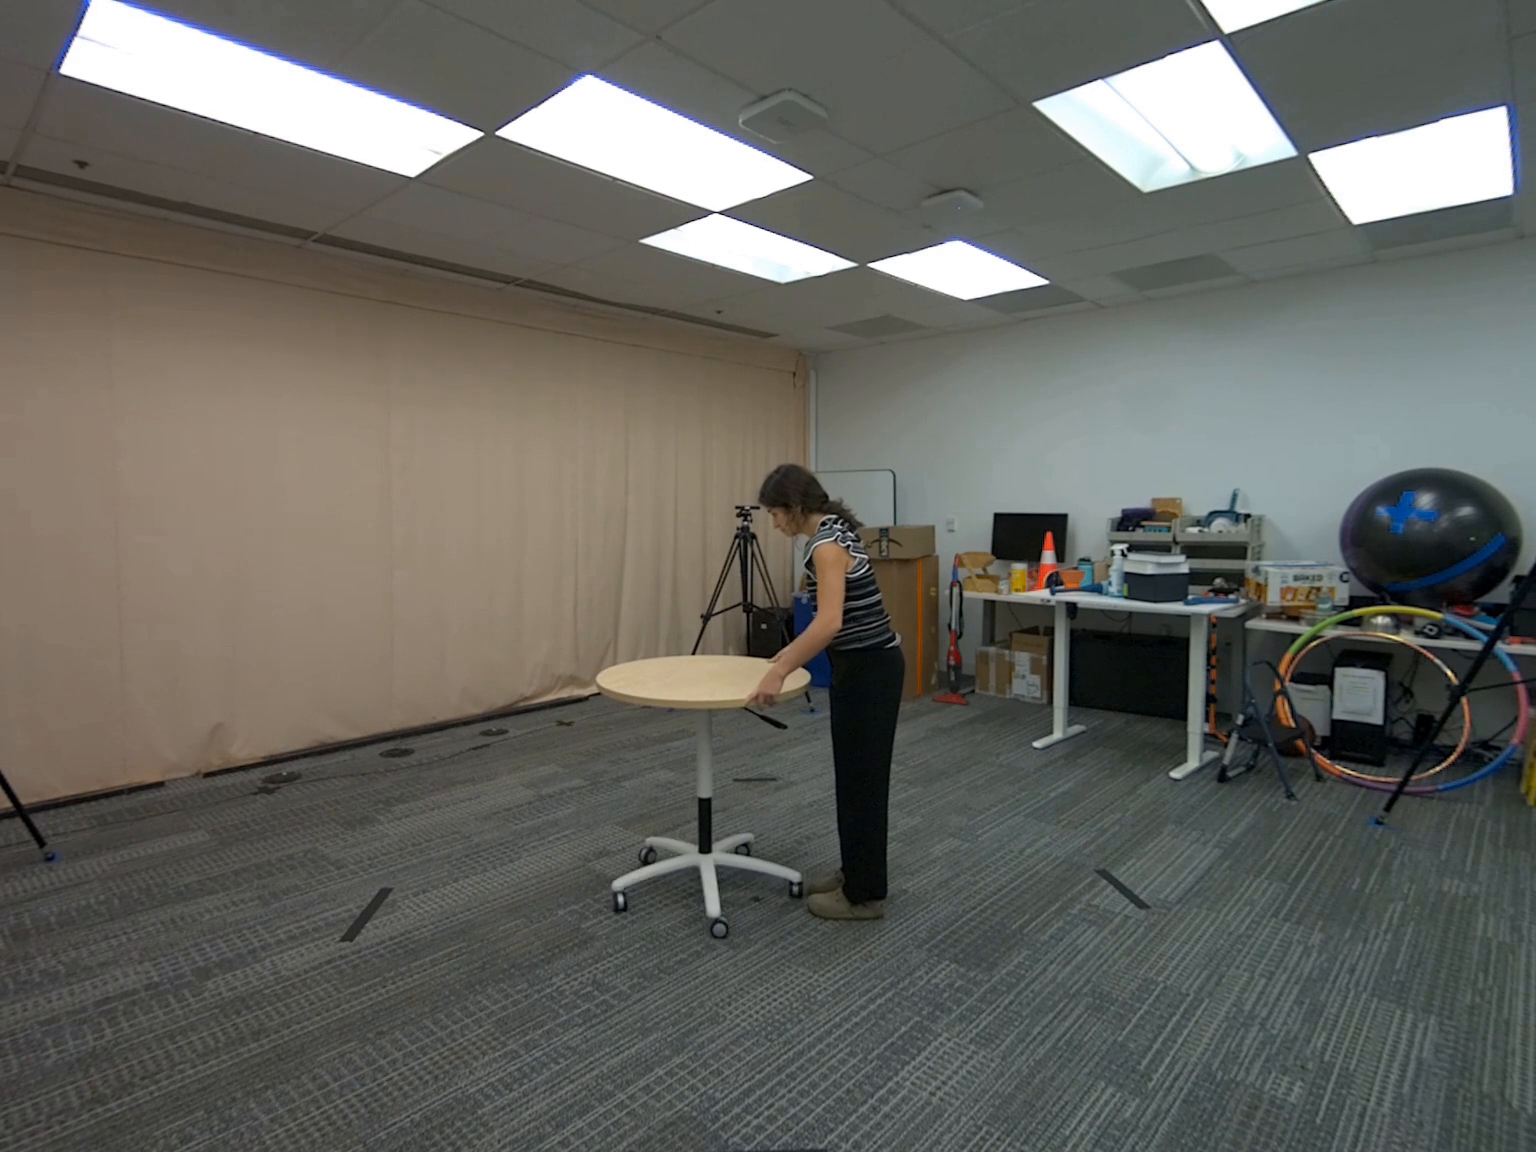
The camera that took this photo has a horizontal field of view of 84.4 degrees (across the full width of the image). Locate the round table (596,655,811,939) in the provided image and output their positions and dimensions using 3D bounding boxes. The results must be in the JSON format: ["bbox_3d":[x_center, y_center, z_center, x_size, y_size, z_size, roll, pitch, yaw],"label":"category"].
[{"bbox_3d":[-0.241,0.748,3.036,0.784,0.785,0.788,0,3,-2],"label":"round table"}]
